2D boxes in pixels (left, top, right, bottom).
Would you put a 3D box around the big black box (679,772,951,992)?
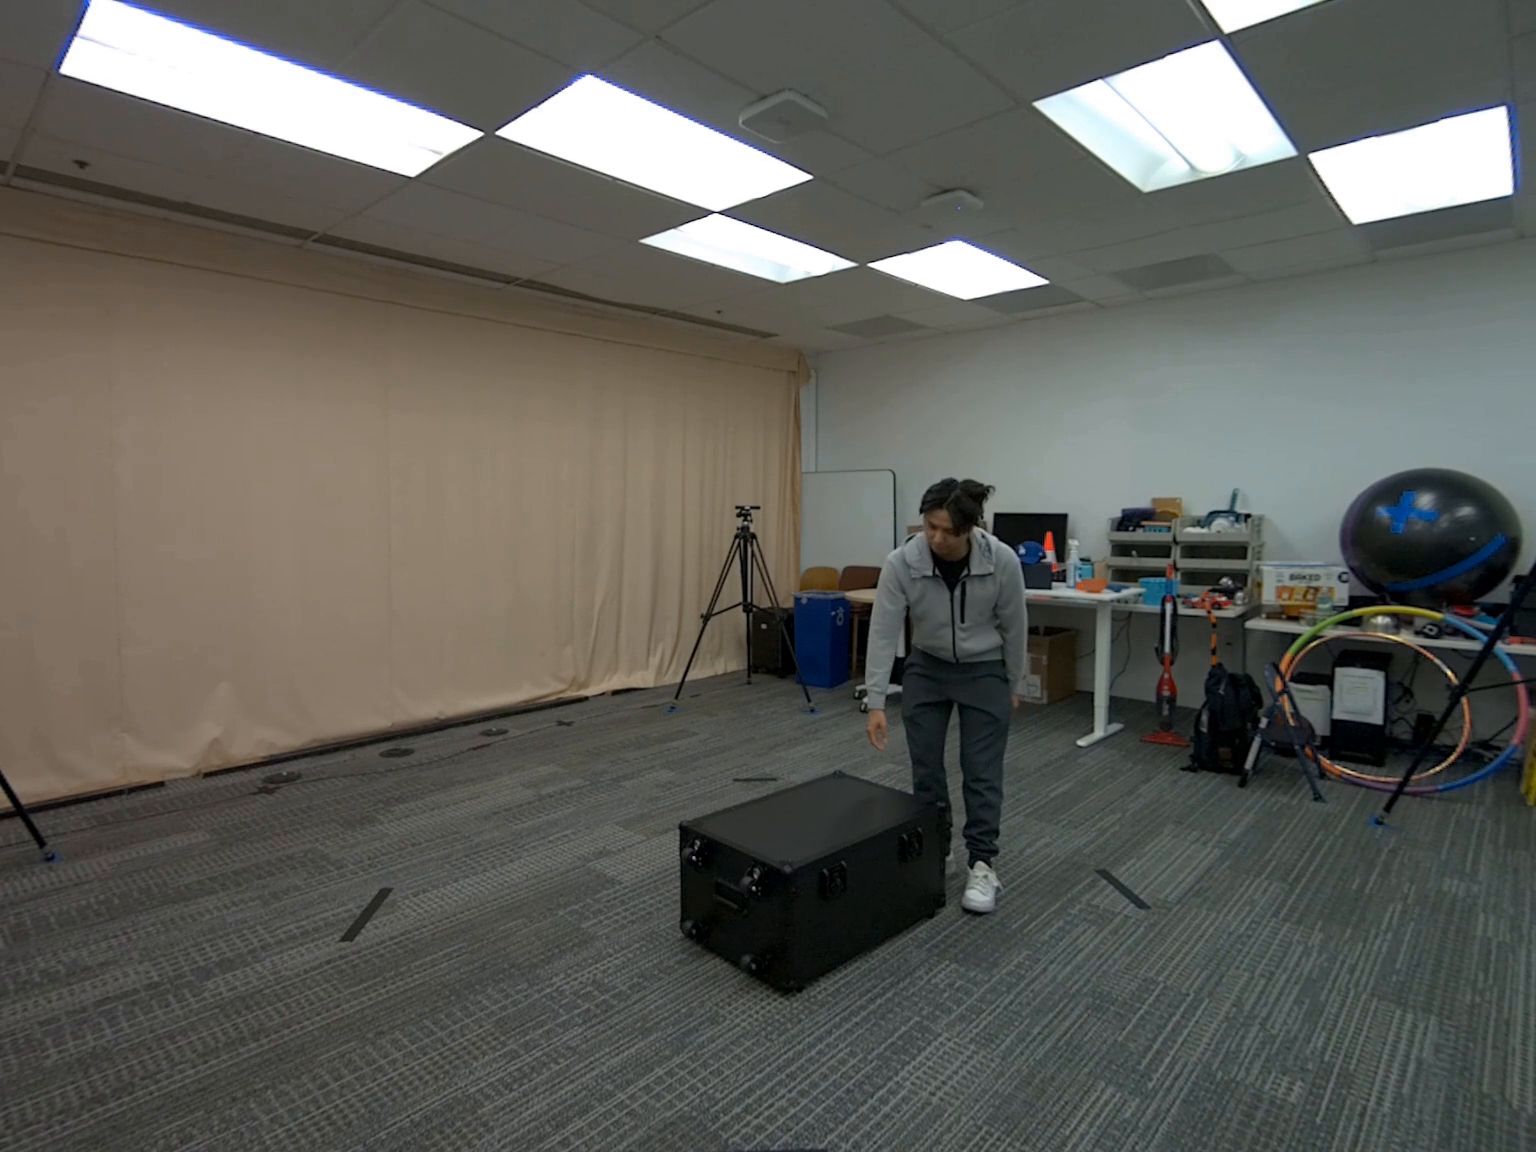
[{"bbox_3d":[0.140,0.972,2.769,0.835,0.395,0.539,-4,5,-43],"label":"big black box"}]
